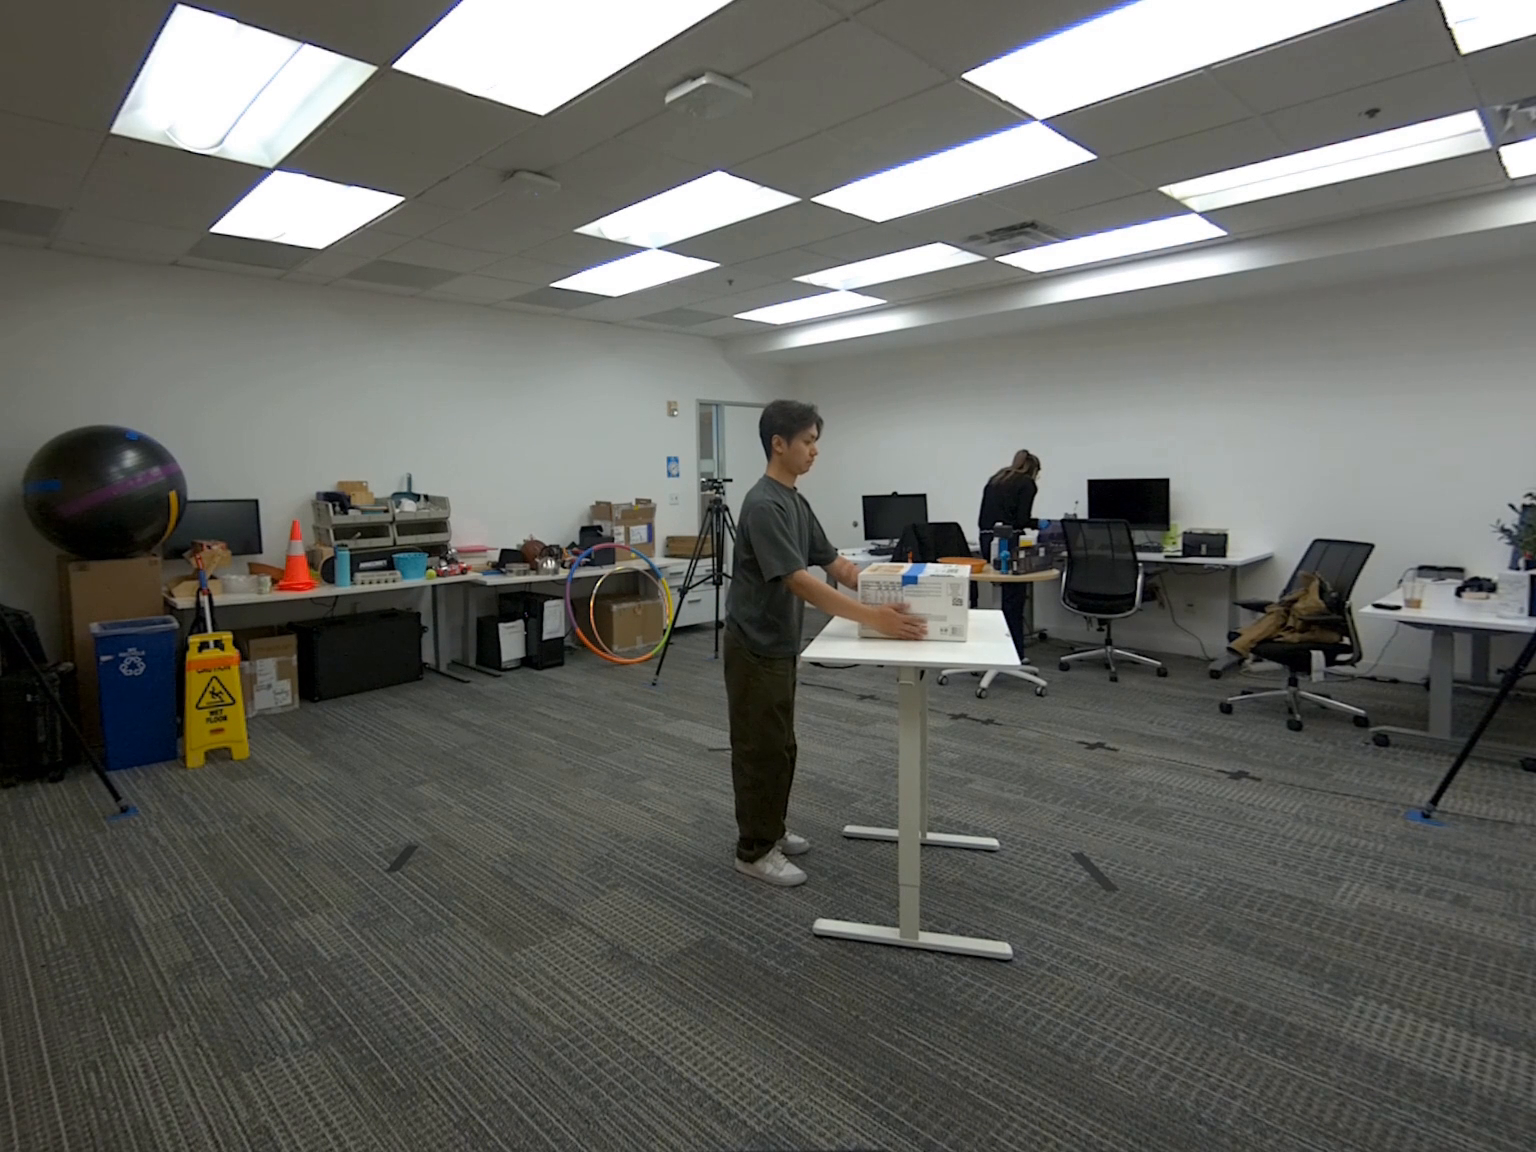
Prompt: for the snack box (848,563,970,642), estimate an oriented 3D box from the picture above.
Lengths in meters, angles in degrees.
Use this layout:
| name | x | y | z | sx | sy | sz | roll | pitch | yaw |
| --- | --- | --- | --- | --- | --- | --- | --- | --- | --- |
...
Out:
| name | x | y | z | sx | sy | sz | roll | pitch | yaw |
| --- | --- | --- | --- | --- | --- | --- | --- | --- | --- |
| snack box | 0.498 | 0.078 | 2.860 | 0.346 | 0.205 | 0.400 | 0 | 6 | 16 |
